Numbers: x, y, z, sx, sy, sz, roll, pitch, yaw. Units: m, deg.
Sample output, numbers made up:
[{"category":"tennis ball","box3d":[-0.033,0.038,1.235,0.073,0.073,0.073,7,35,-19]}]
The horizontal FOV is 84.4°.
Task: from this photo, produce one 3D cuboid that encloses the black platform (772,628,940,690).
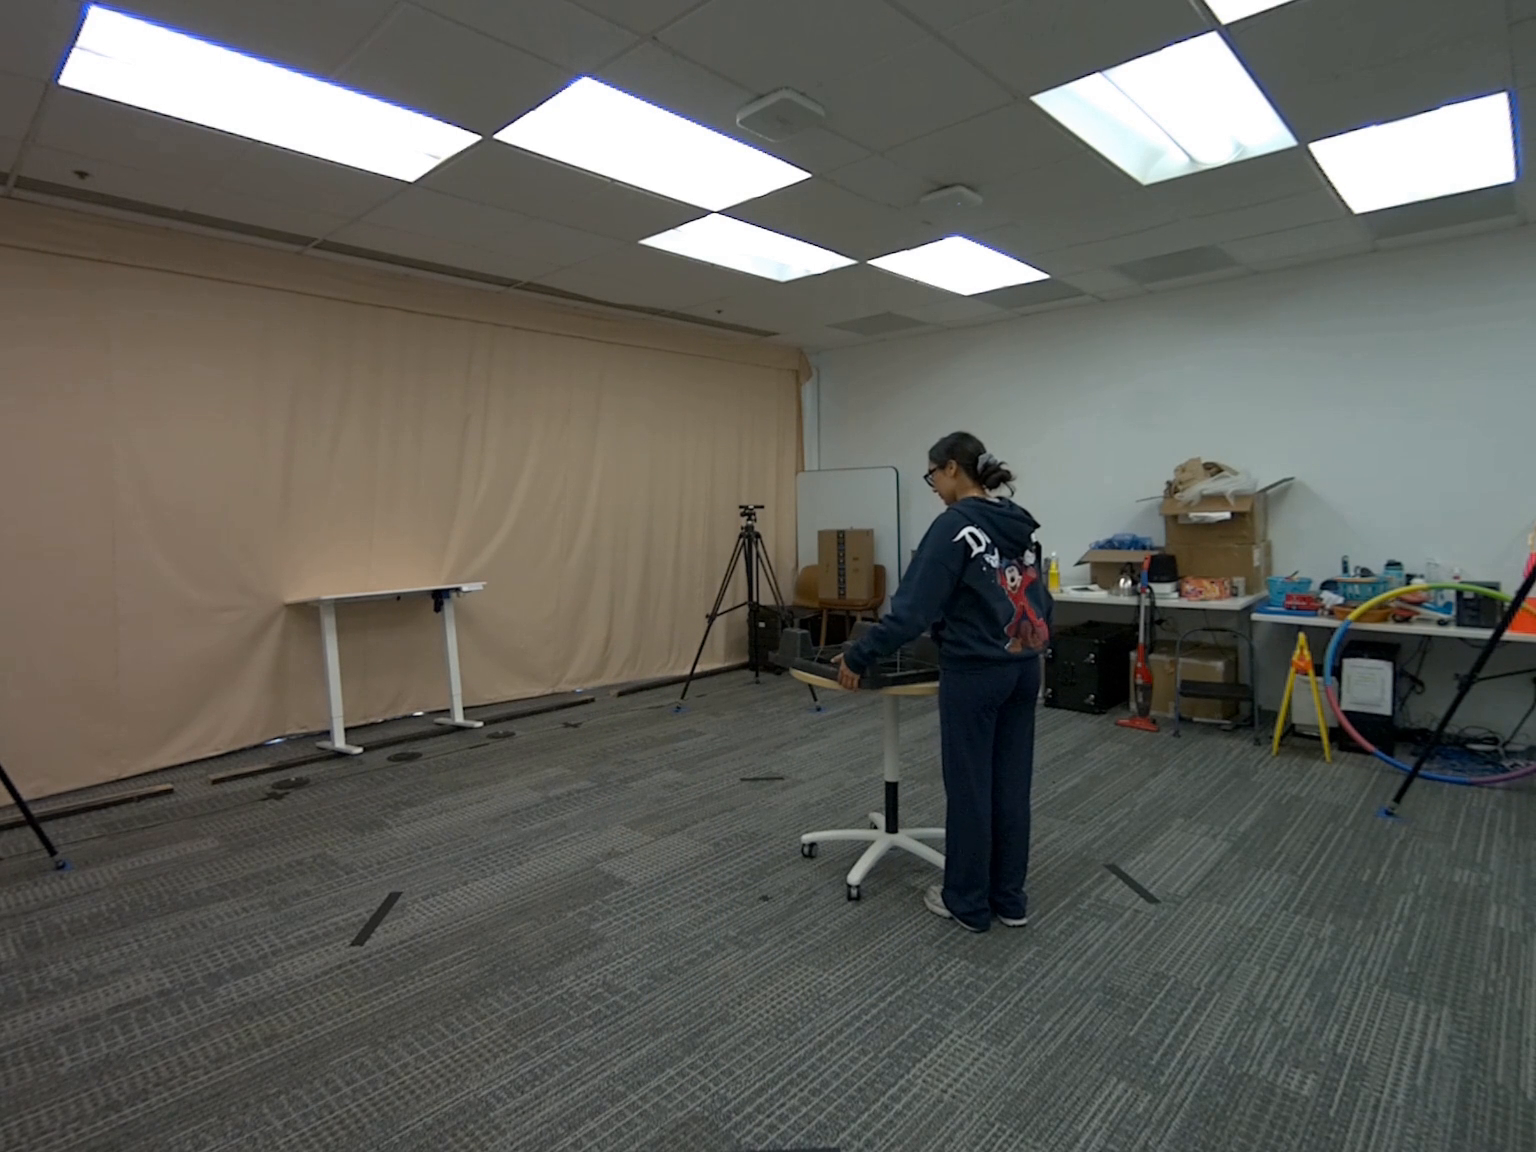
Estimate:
[{"category":"black platform","box3d":[0.493,0.272,3.187,0.785,0.143,0.623,-4,7,-29]}]
